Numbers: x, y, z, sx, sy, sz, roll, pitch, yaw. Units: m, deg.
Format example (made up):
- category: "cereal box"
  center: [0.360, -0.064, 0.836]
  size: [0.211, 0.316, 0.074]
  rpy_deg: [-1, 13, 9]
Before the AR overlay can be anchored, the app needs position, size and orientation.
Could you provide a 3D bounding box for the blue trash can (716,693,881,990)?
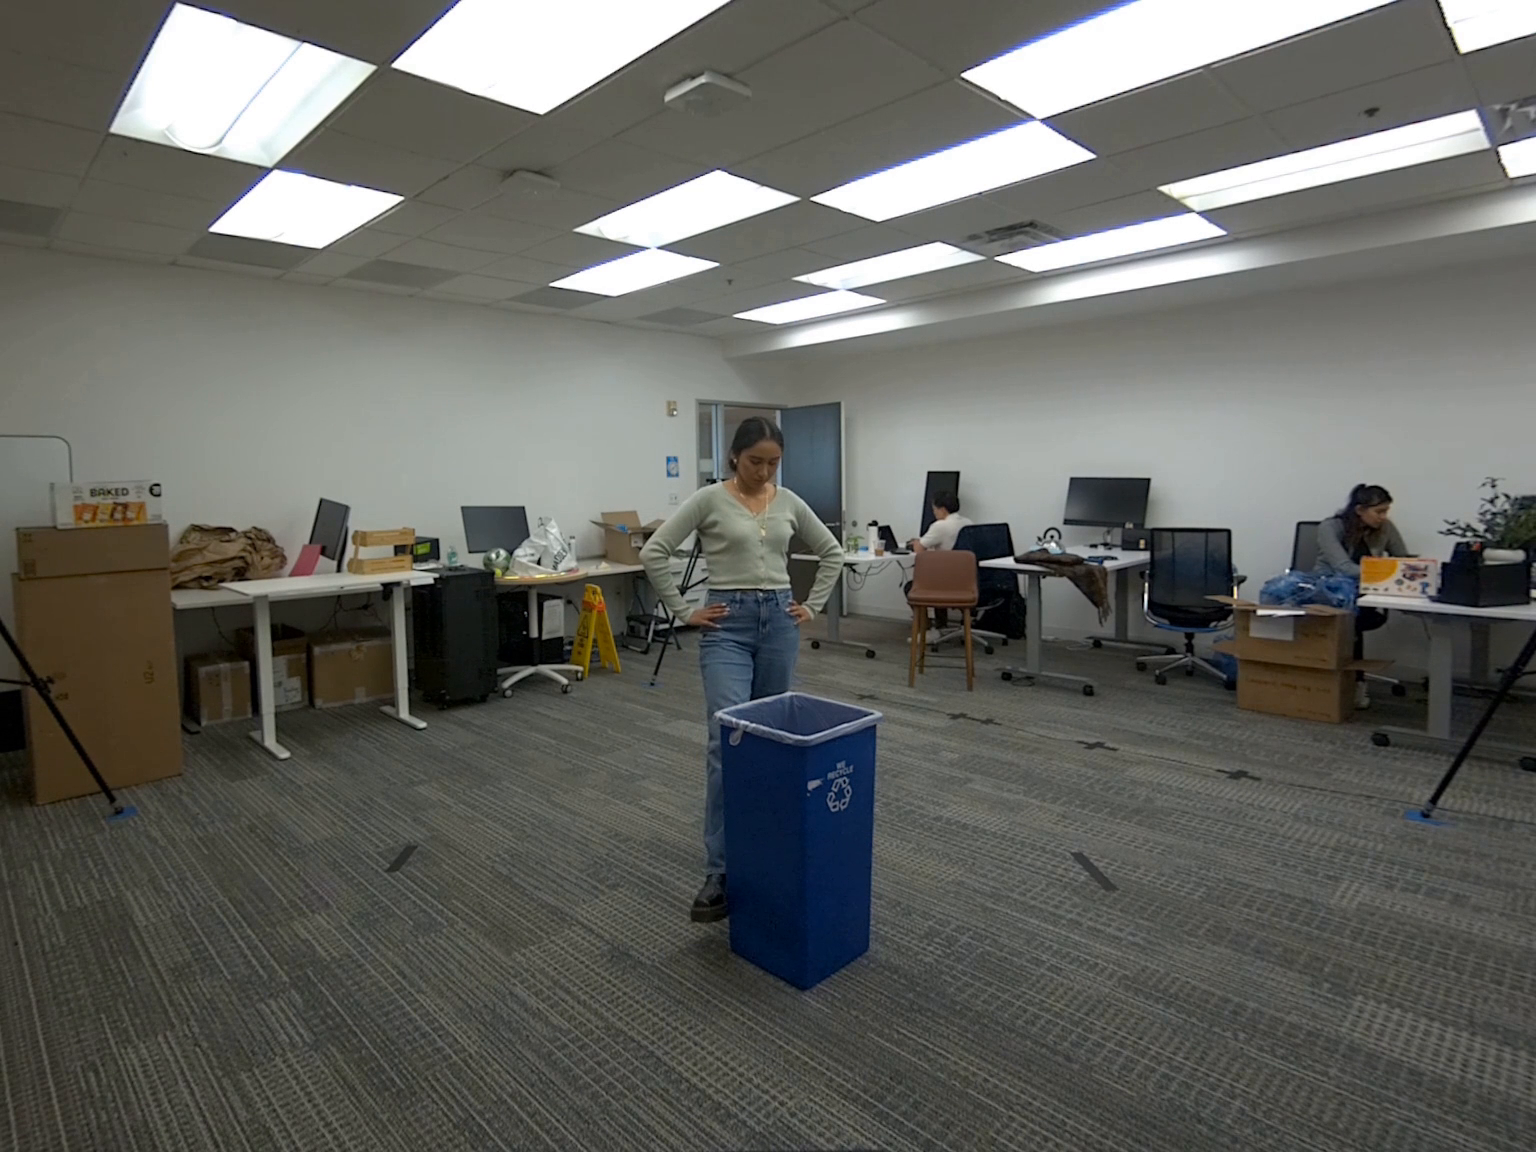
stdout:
- category: "blue trash can"
  center: [0.104, 0.755, 2.503]
  size: [0.385, 0.711, 0.368]
  rpy_deg: [3, 5, 44]
